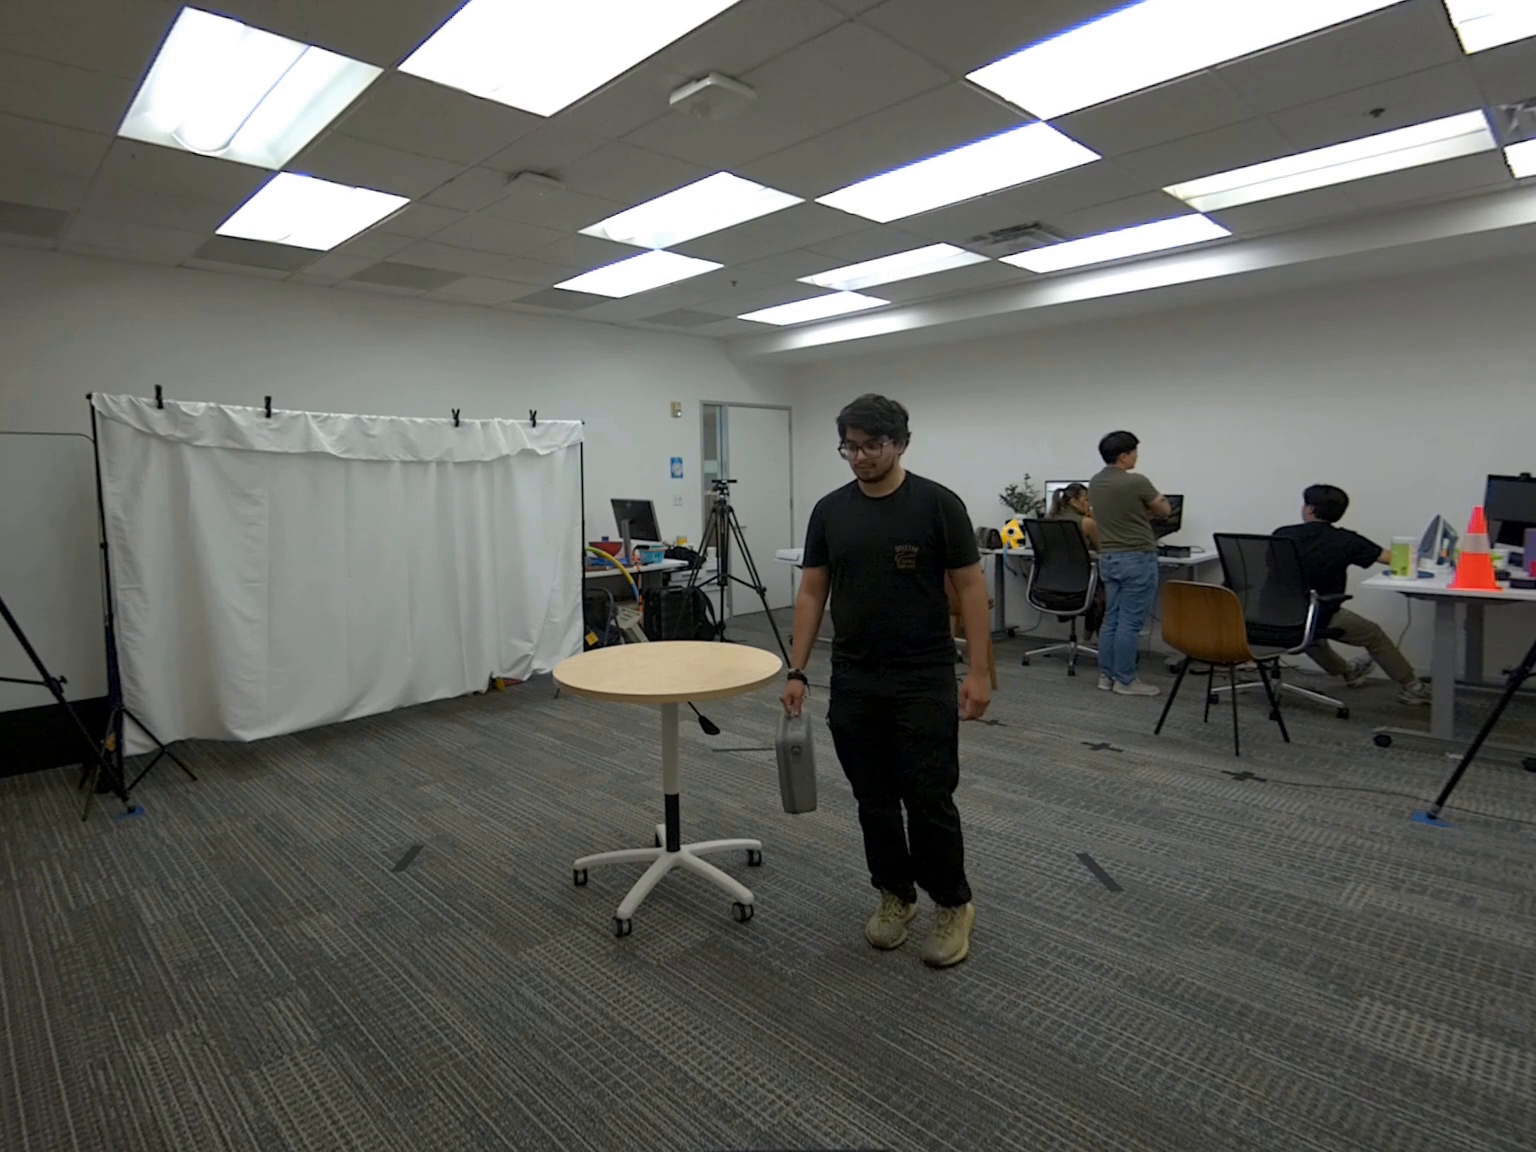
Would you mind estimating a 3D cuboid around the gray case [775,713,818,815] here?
[{"bbox_3d":[0.103,0.559,2.620,0.105,0.258,0.258,-3,11,4],"label":"gray case"}]
